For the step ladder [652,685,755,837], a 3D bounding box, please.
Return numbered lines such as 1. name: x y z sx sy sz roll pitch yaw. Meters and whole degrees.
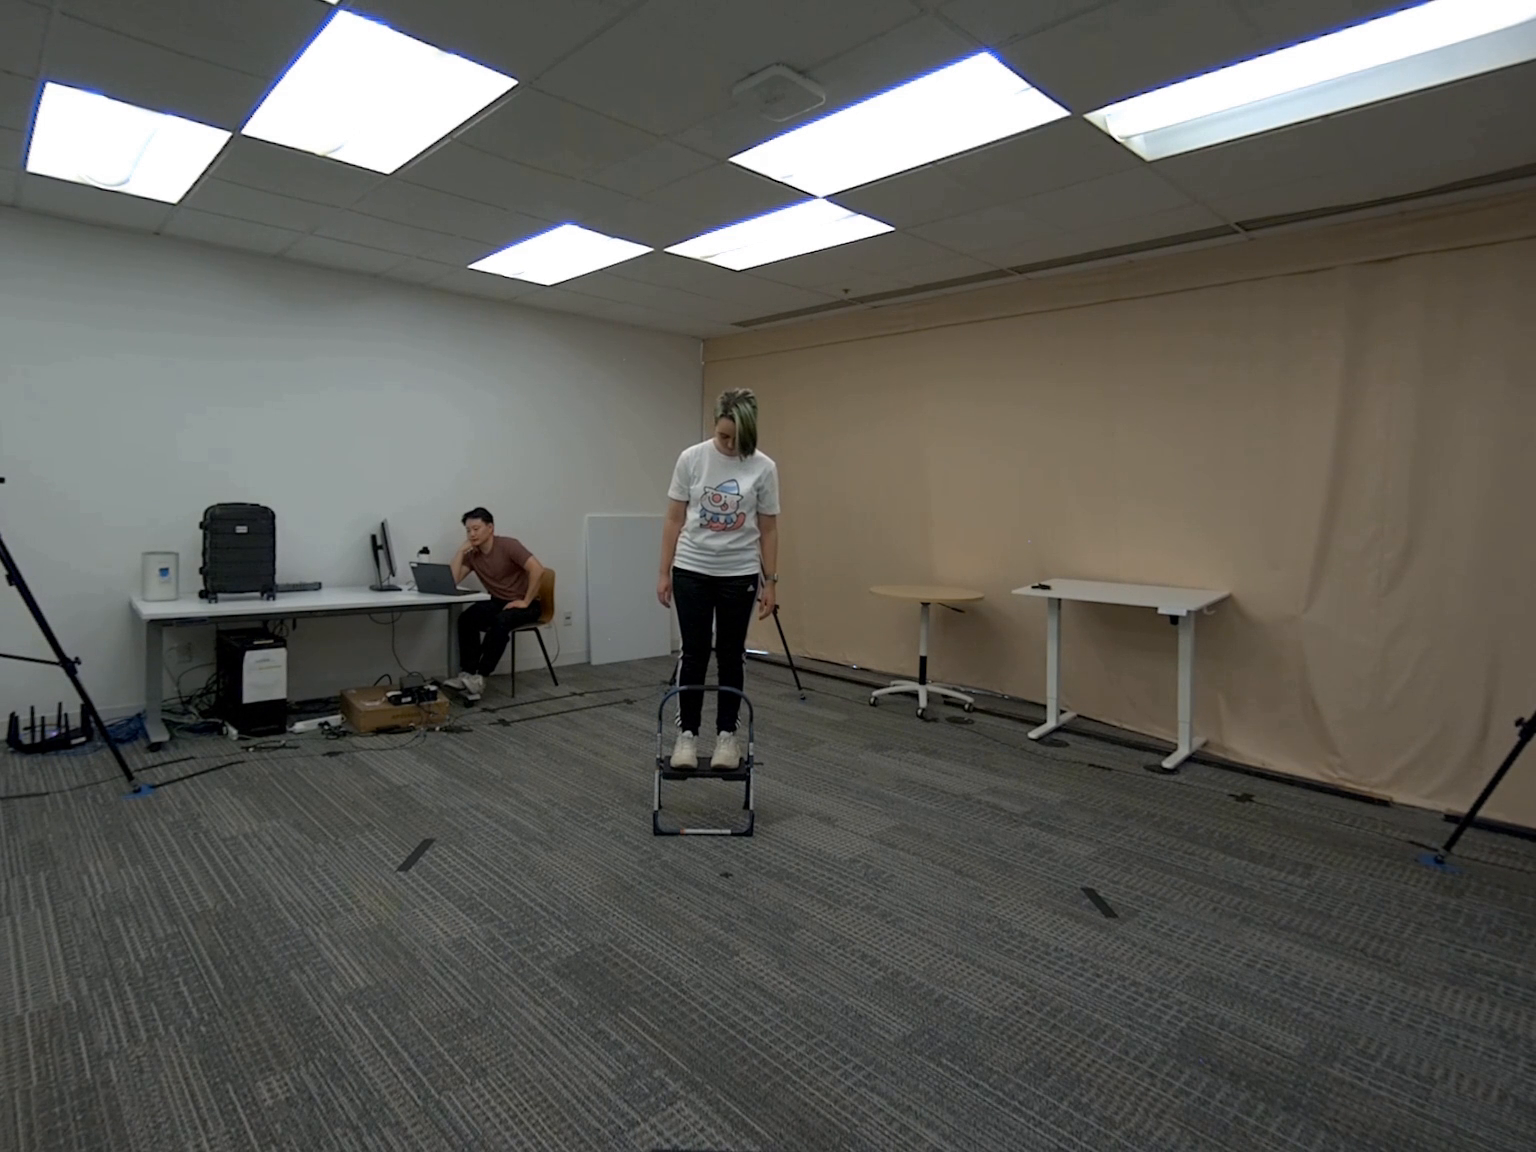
1. step ladder: -0.281 0.758 3.614 0.429 0.605 0.351 1 2 -4
